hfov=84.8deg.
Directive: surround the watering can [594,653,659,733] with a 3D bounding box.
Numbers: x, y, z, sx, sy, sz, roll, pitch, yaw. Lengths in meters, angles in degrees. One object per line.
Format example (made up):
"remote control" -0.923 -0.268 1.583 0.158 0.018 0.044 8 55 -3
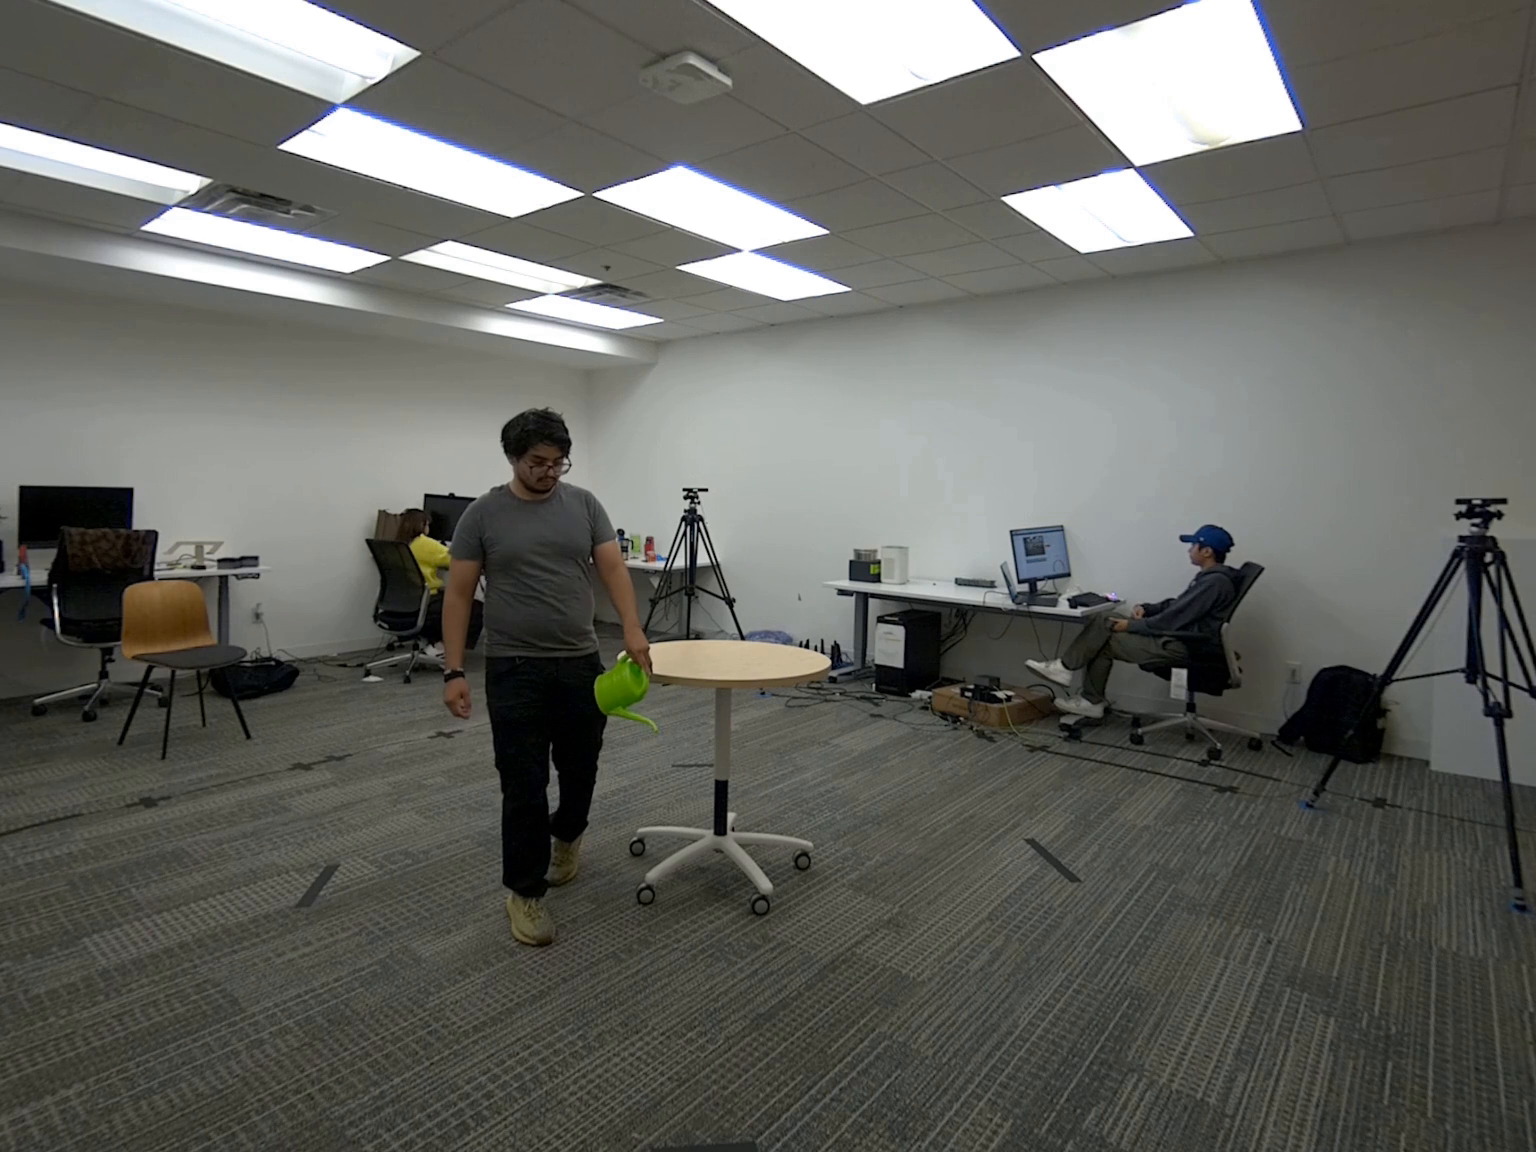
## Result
"watering can" -0.436 0.355 2.524 0.178 0.094 0.286 -27 37 19
